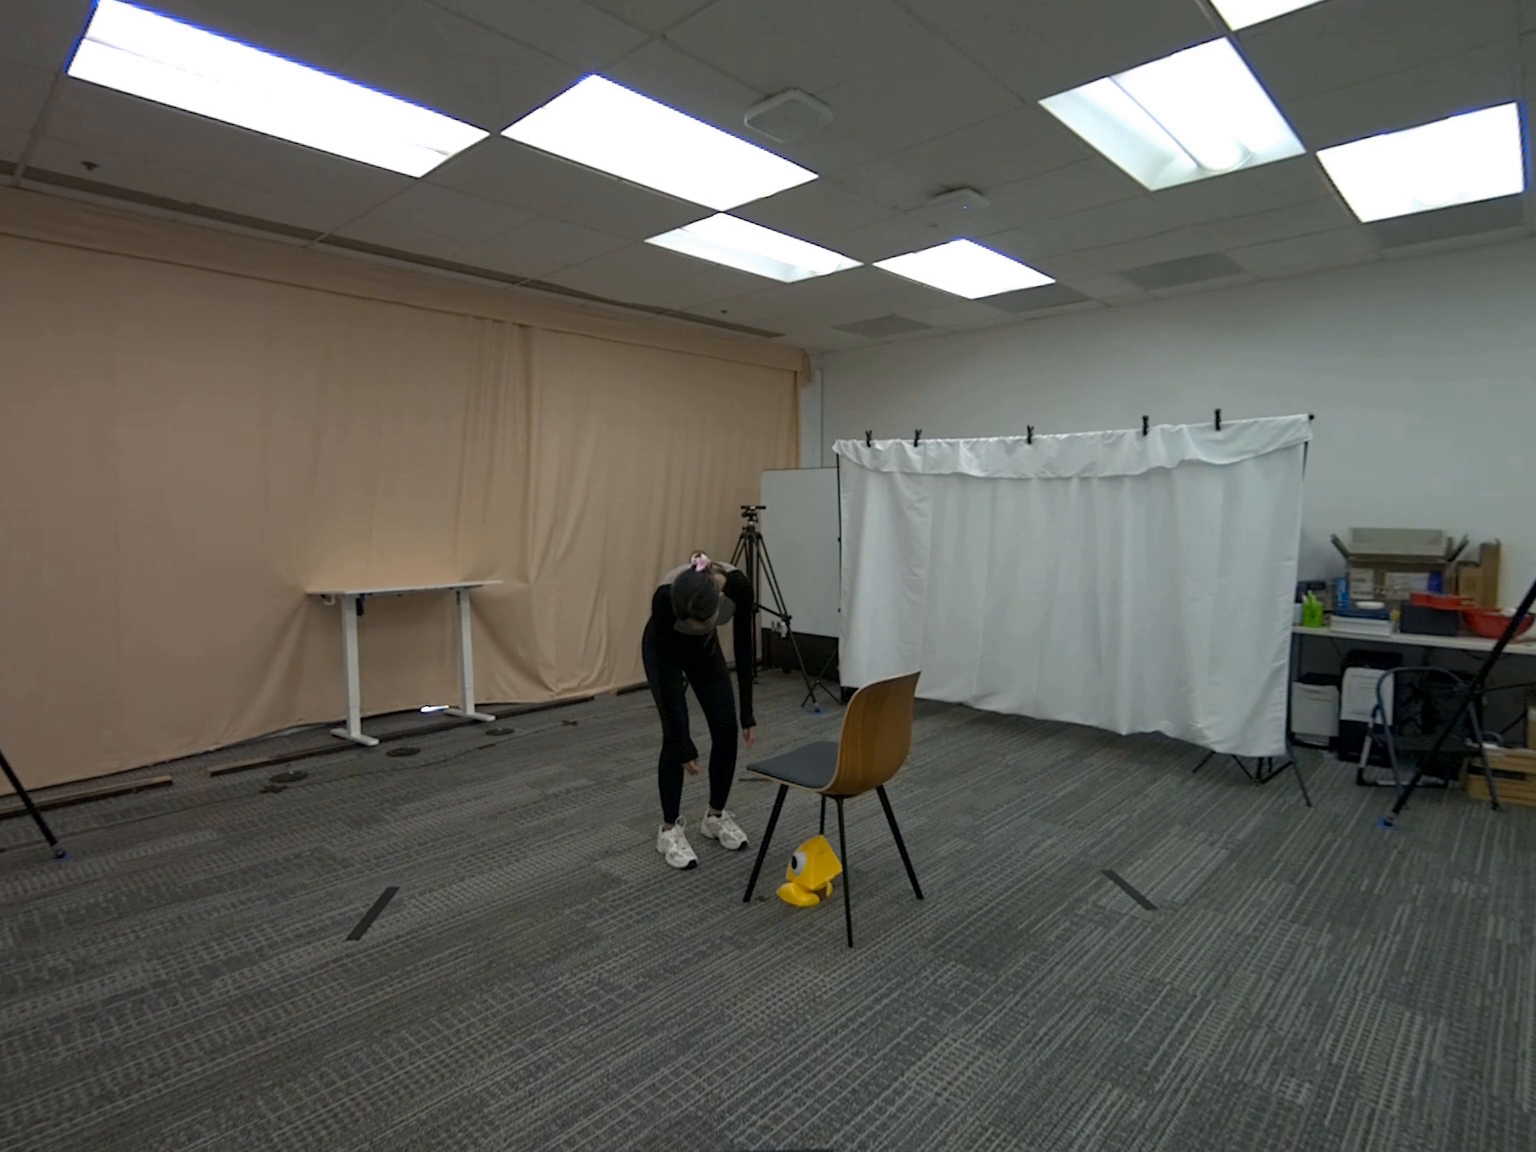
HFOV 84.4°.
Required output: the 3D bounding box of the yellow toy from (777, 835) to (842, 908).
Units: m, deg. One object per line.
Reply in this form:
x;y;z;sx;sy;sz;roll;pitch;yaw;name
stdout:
0.142;1.030;3.014;0.199;0.230;0.199;4;6;40;yellow toy
